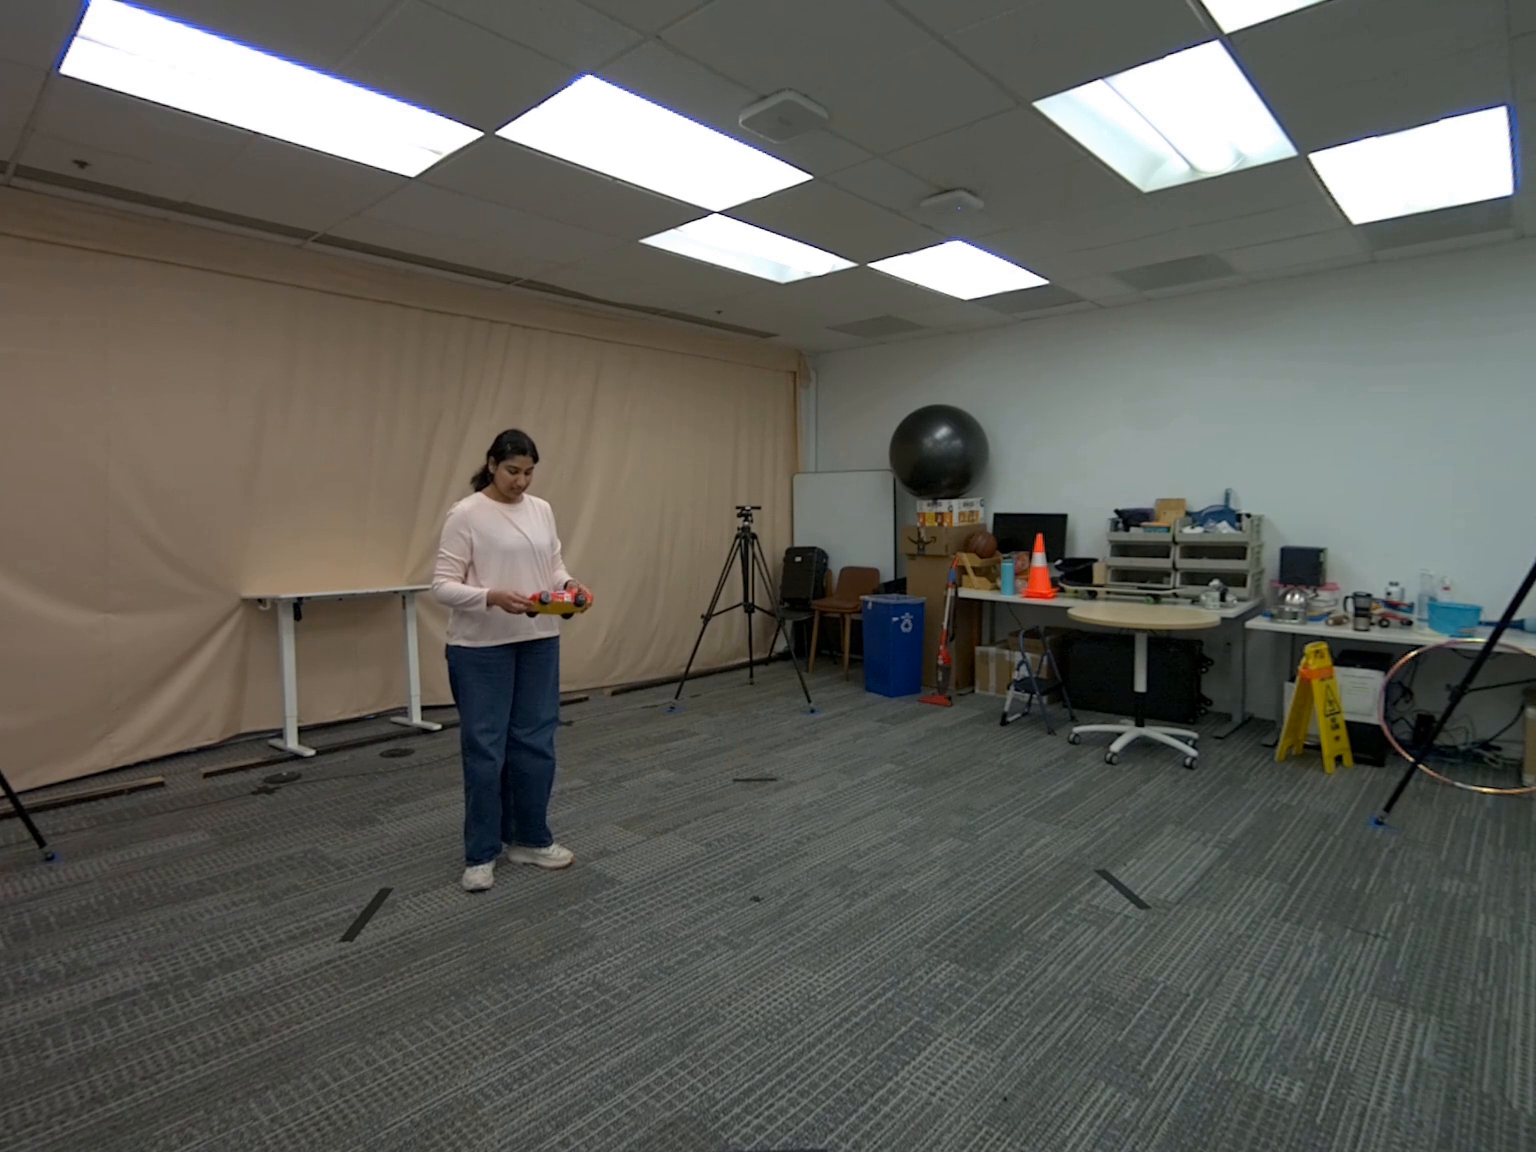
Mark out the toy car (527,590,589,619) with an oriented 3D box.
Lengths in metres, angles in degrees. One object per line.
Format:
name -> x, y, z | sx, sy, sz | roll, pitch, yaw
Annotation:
toy car -> -0.737, 0.096, 2.982 | 0.132, 0.085, 0.247 | -39, -19, 35
